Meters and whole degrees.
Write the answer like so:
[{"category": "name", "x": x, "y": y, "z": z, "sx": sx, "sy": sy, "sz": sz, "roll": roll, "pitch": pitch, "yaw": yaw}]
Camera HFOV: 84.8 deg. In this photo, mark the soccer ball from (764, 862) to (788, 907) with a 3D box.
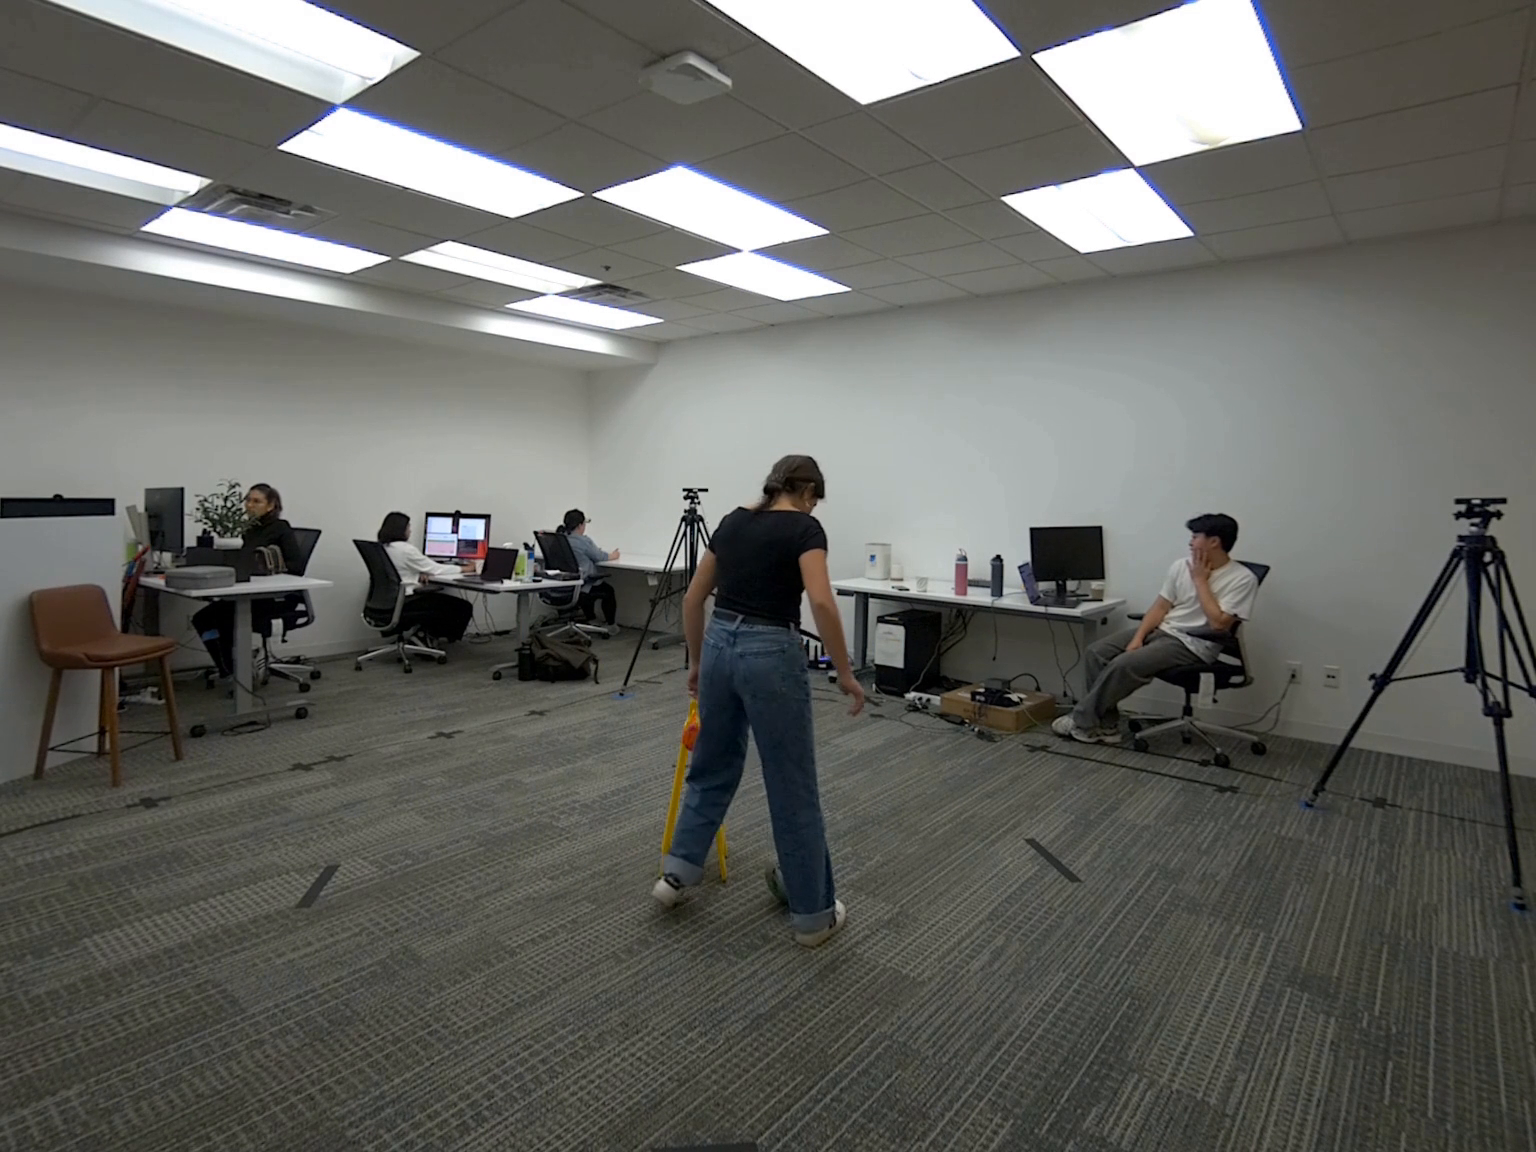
[{"category": "soccer ball", "x": 0.091, "y": 0.996, "z": 2.870, "sx": 0.187, "sy": 0.187, "sz": 0.188, "roll": 1, "pitch": 4, "yaw": -2}]
